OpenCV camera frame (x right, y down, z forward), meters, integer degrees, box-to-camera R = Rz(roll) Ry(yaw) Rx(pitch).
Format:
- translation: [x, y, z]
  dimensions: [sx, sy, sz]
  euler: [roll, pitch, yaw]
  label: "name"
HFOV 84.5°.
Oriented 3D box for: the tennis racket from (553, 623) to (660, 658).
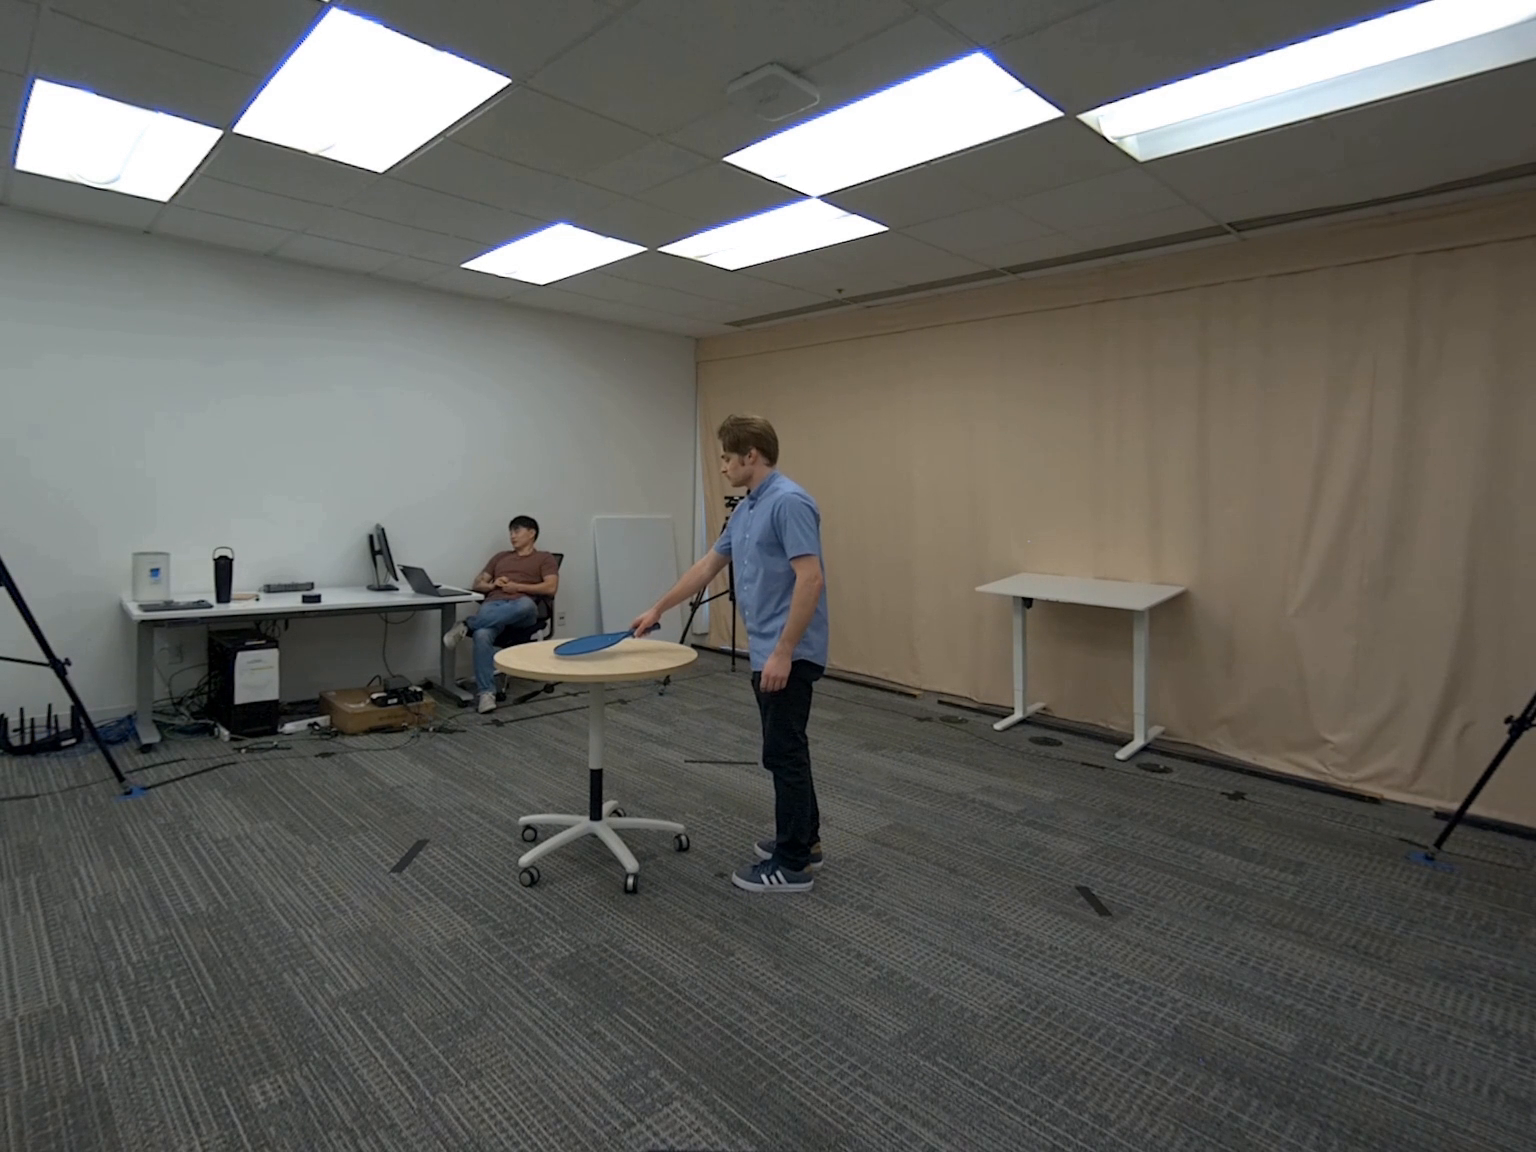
- translation: [-0.614, 0.246, 3.182]
  dimensions: [0.427, 0.031, 0.218]
  euler: [-11, 11, -23]
  label: "tennis racket"
